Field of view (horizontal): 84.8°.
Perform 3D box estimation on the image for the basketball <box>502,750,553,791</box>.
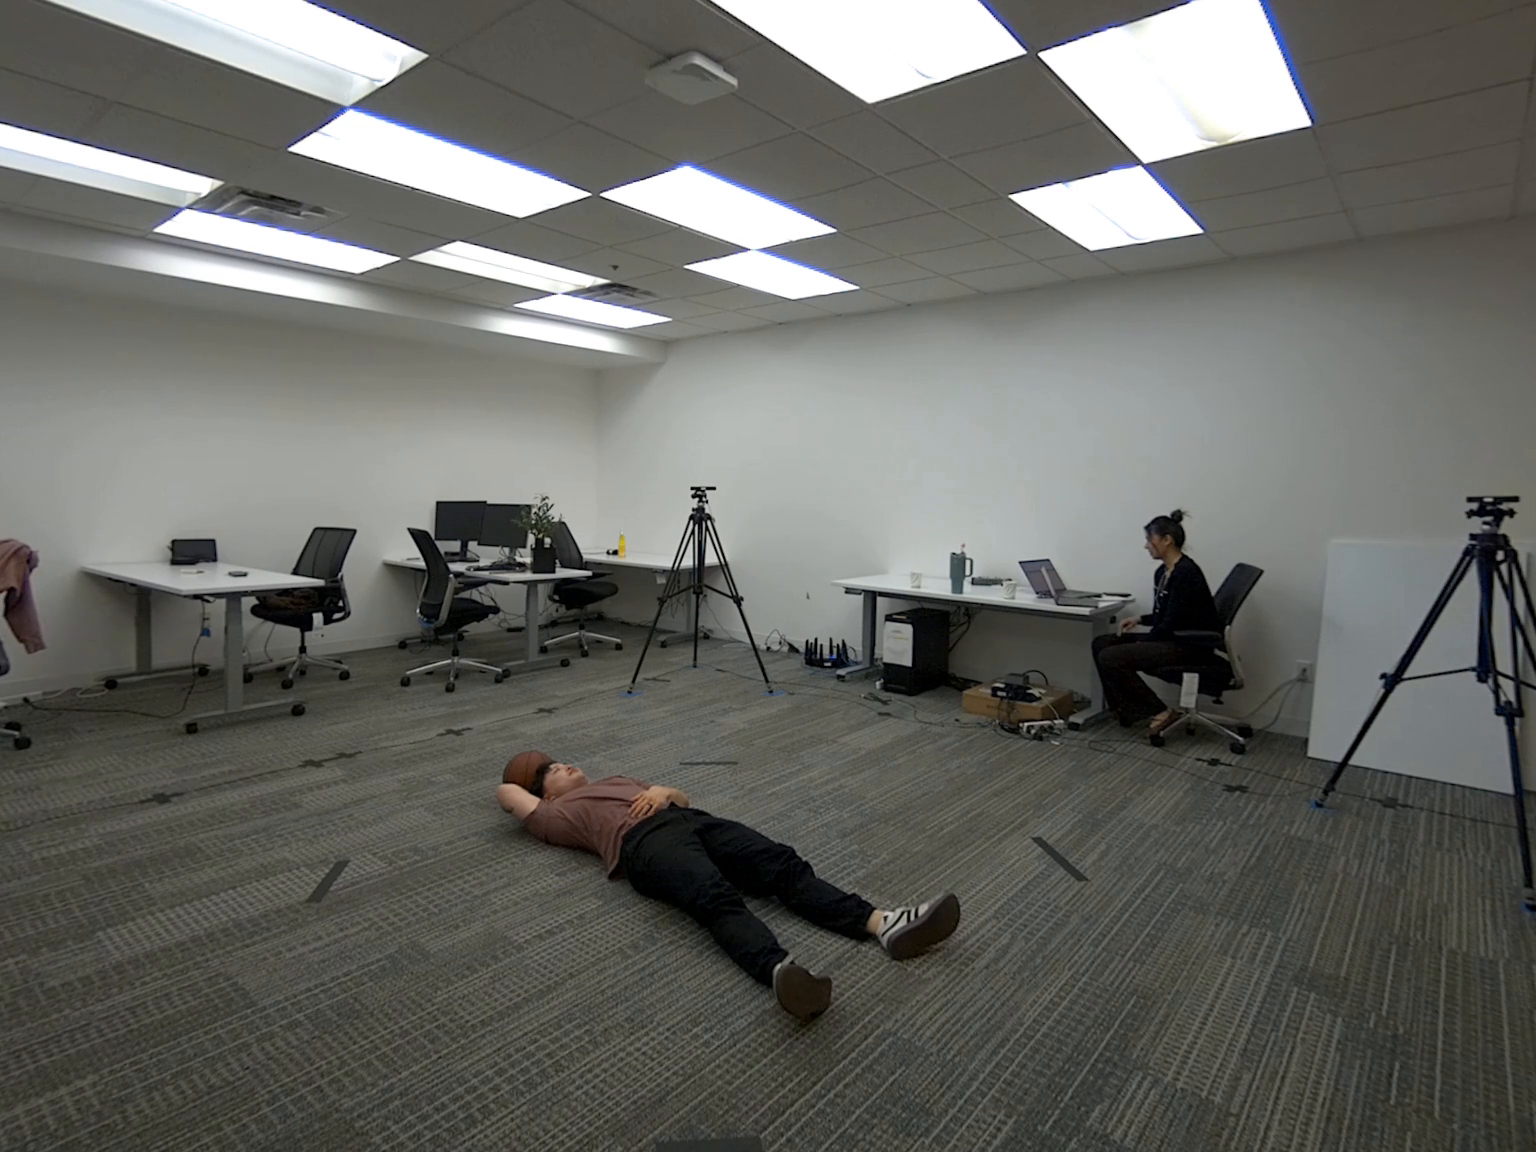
[{"bbox_3d":[-1.045,0.875,3.693,0.235,0.235,0.237,1,5,-2],"label":"basketball"}]
